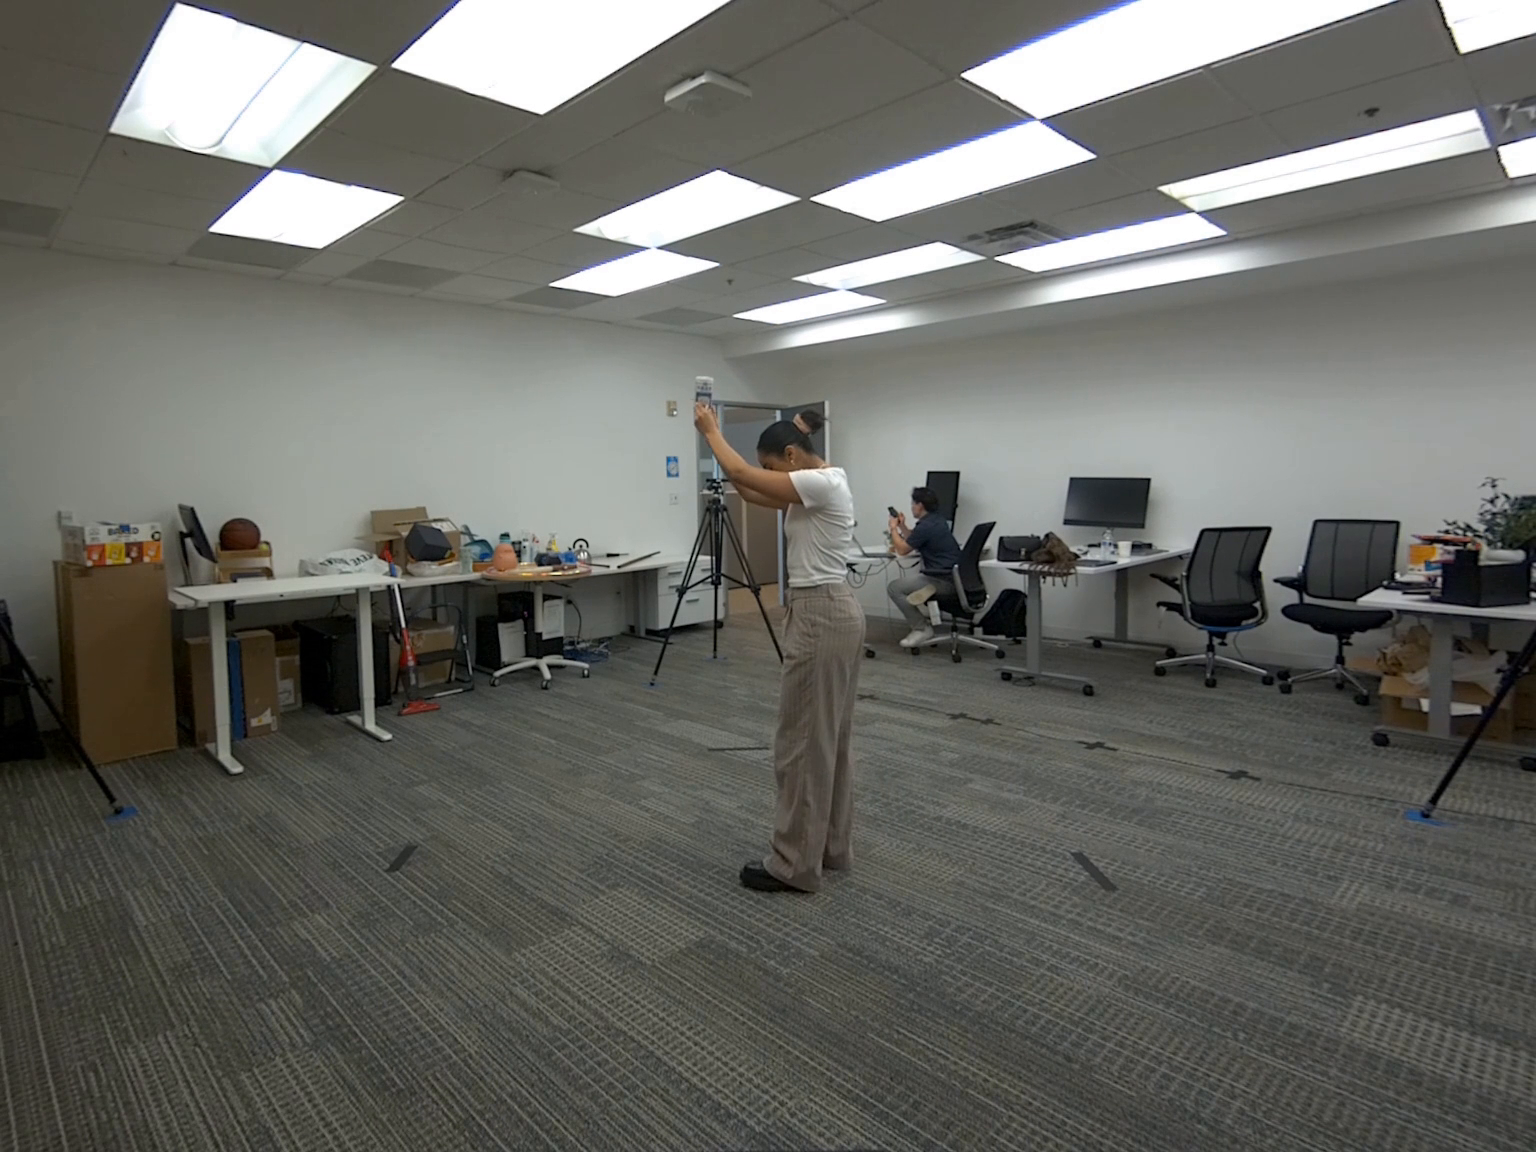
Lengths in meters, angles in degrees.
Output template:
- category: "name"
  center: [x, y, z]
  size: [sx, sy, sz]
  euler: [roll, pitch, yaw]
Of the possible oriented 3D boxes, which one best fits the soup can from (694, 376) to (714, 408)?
- category: "soup can"
  center: [-0.235, -0.678, 3.161]
  size: [0.067, 0.120, 0.068]
  euler: [2, 15, -2]
